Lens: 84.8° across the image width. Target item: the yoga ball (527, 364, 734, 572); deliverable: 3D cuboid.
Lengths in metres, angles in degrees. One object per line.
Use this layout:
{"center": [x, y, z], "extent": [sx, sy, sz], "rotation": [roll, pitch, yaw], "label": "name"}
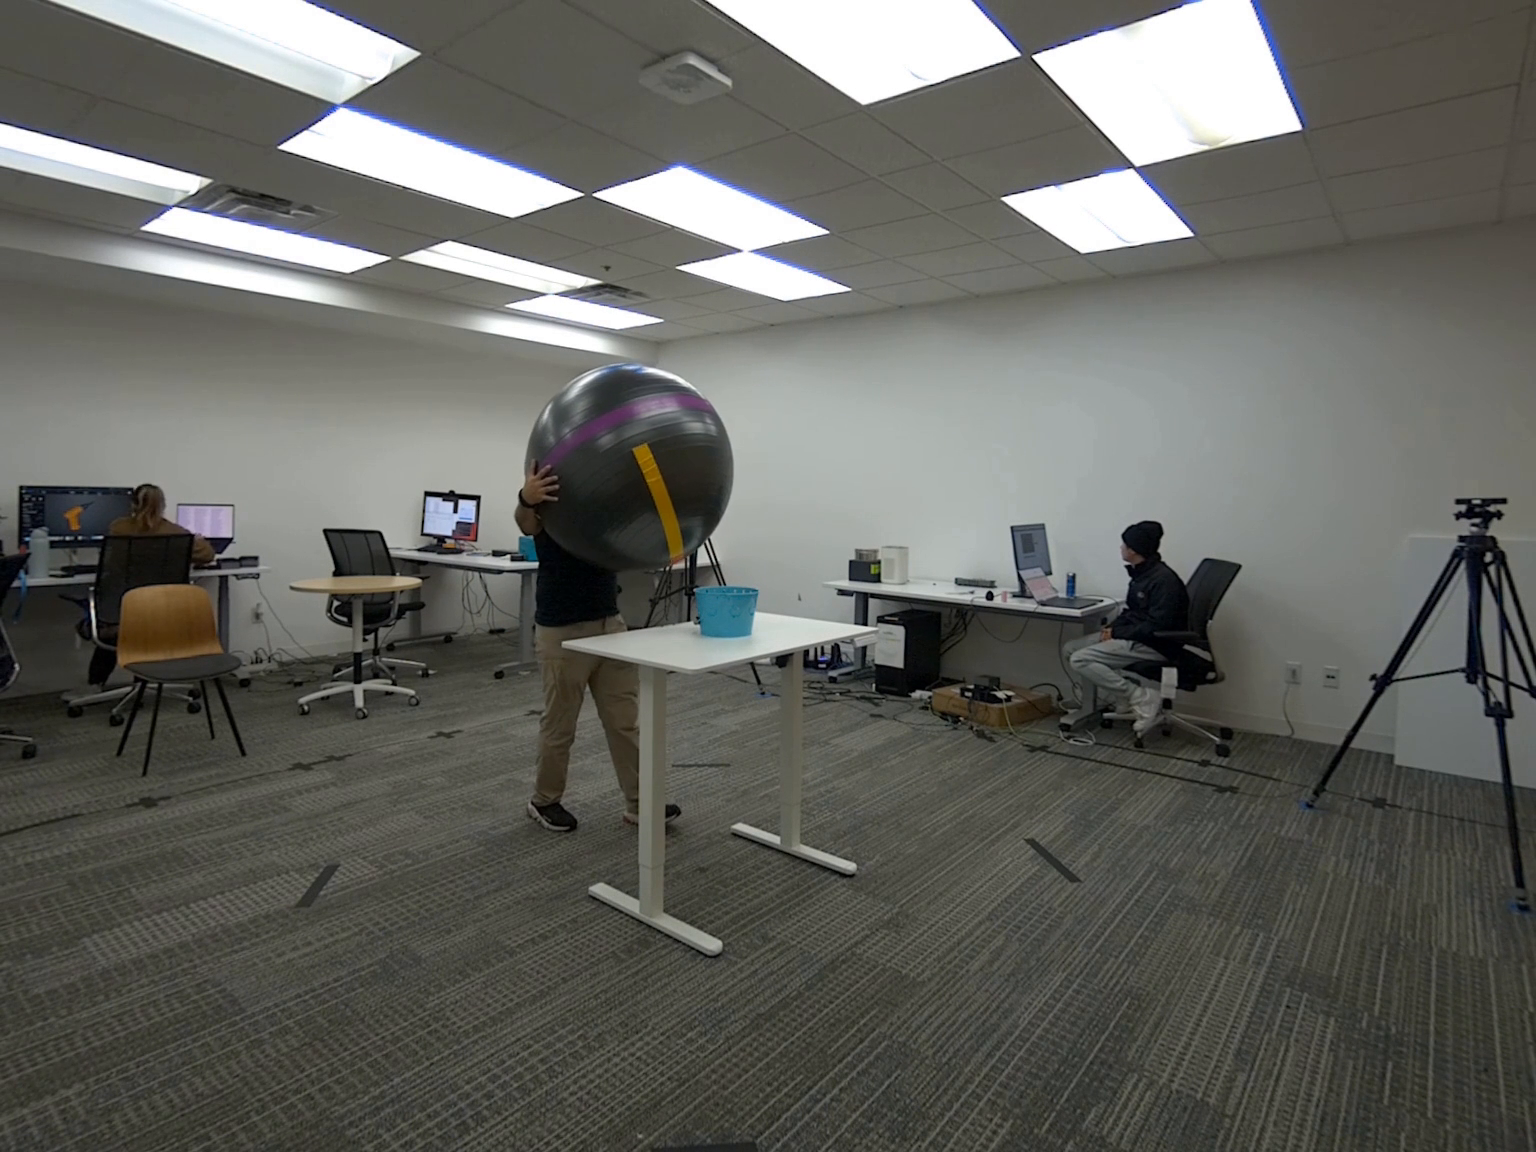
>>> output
{"center": [-0.516, -0.389, 3.098], "extent": [0.757, 0.755, 0.762], "rotation": [1, 4, -2], "label": "yoga ball"}
